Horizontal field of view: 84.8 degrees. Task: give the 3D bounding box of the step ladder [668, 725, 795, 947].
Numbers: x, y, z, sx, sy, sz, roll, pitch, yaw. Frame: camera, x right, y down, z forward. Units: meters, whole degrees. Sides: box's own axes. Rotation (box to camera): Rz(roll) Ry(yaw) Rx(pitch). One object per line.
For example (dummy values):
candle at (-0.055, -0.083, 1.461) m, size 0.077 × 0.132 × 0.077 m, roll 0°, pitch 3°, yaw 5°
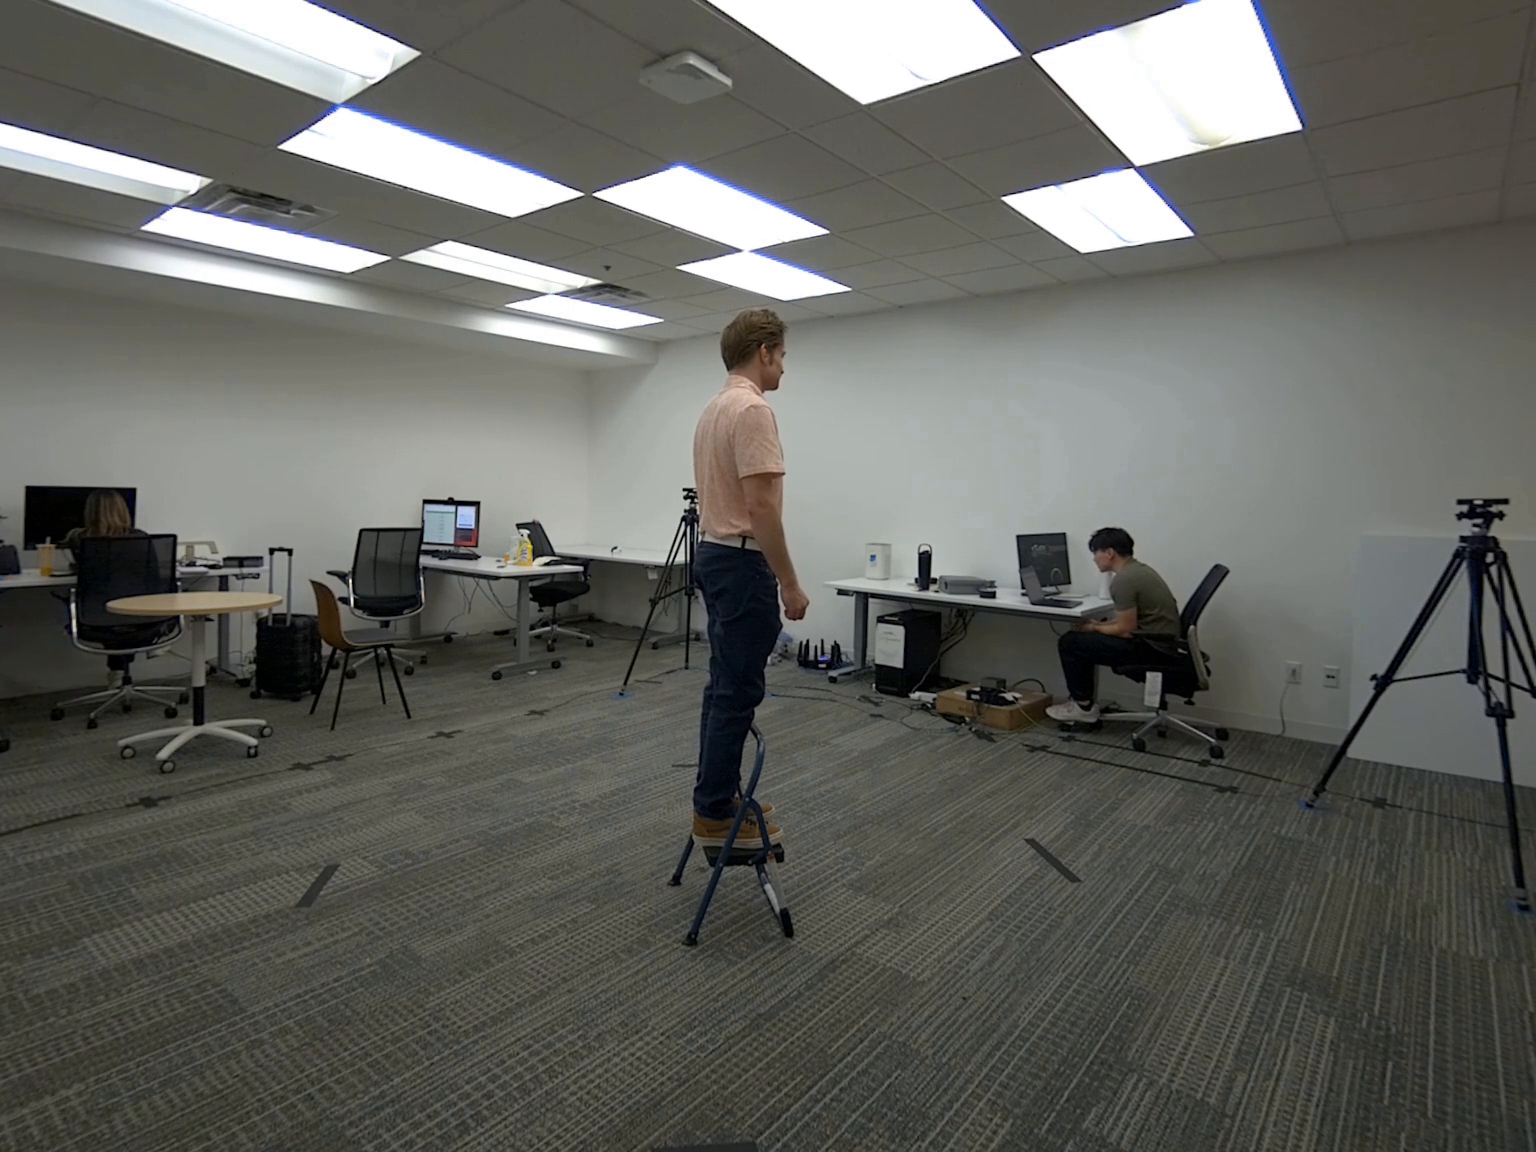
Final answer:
step ladder at (-0.129, 0.803, 2.802) m, size 0.345 × 0.604 × 0.437 m, roll 0°, pitch 4°, yaw -12°
